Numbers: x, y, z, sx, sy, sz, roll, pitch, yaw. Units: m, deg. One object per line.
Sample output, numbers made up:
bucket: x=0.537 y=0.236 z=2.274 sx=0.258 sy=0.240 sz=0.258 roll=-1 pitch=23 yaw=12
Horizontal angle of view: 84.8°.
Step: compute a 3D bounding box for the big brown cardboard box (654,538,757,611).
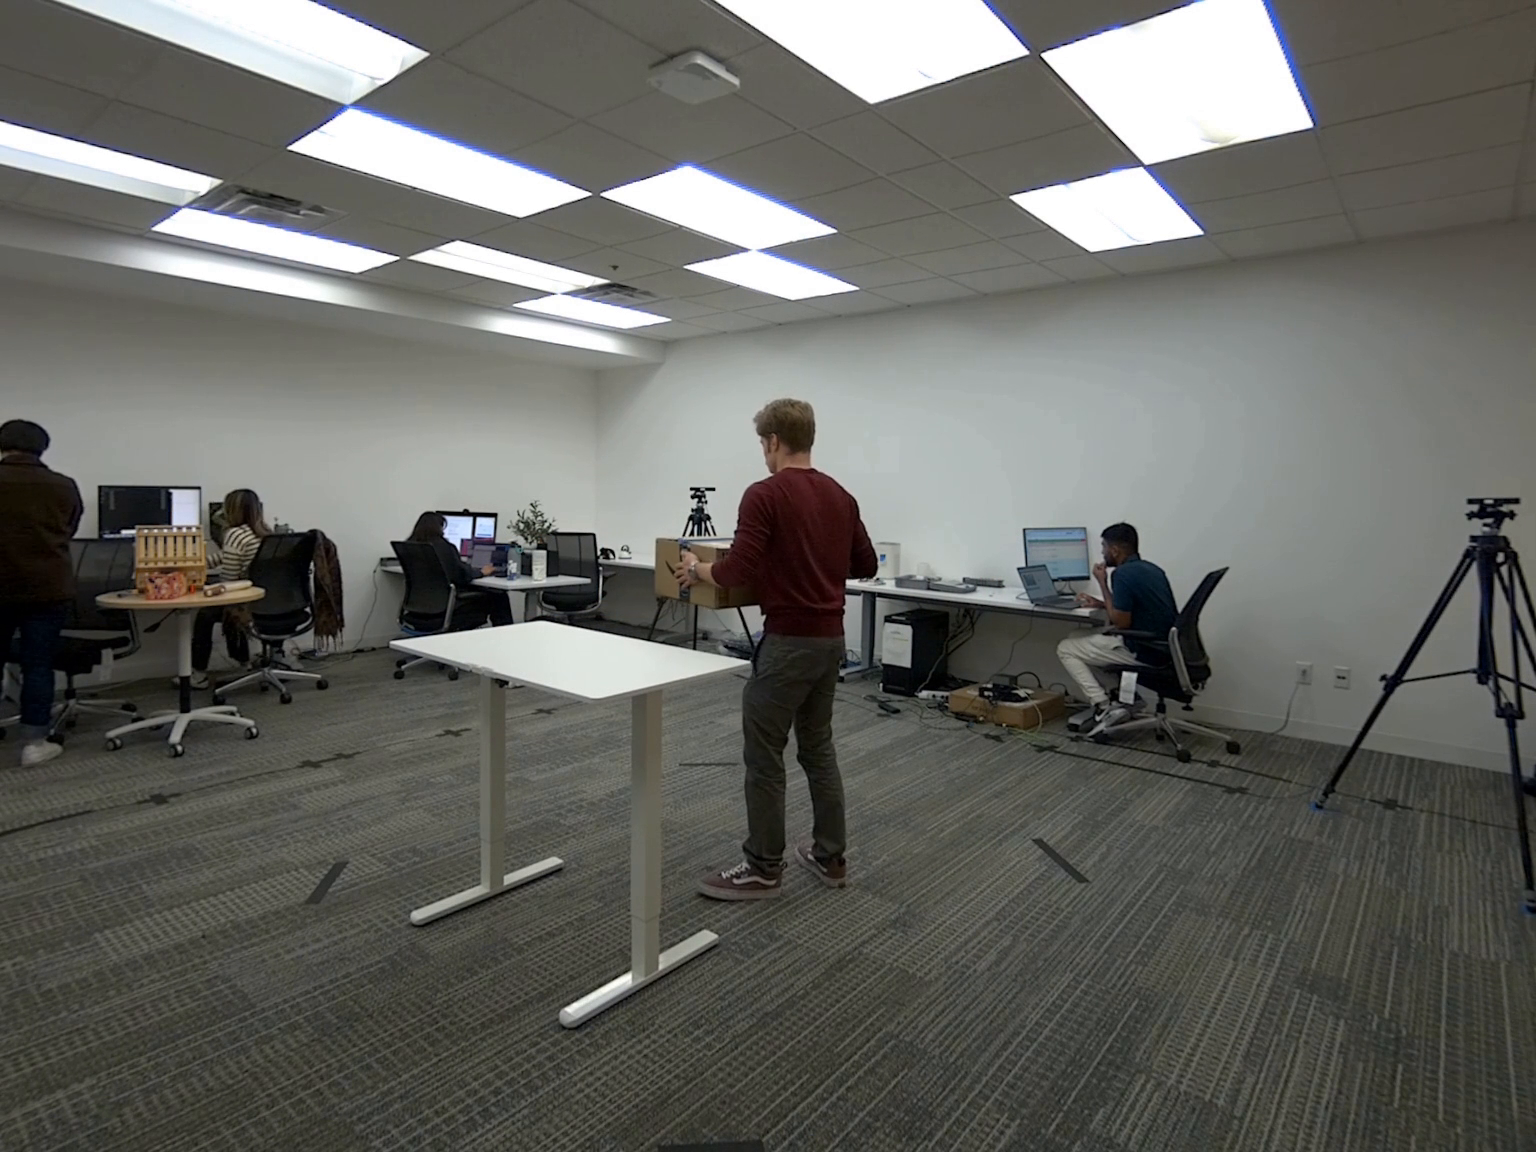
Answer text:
big brown cardboard box: x=-0.096 y=-0.034 z=3.224 sx=0.572 sy=0.232 sz=0.432 roll=-3 pitch=8 yaw=-38
